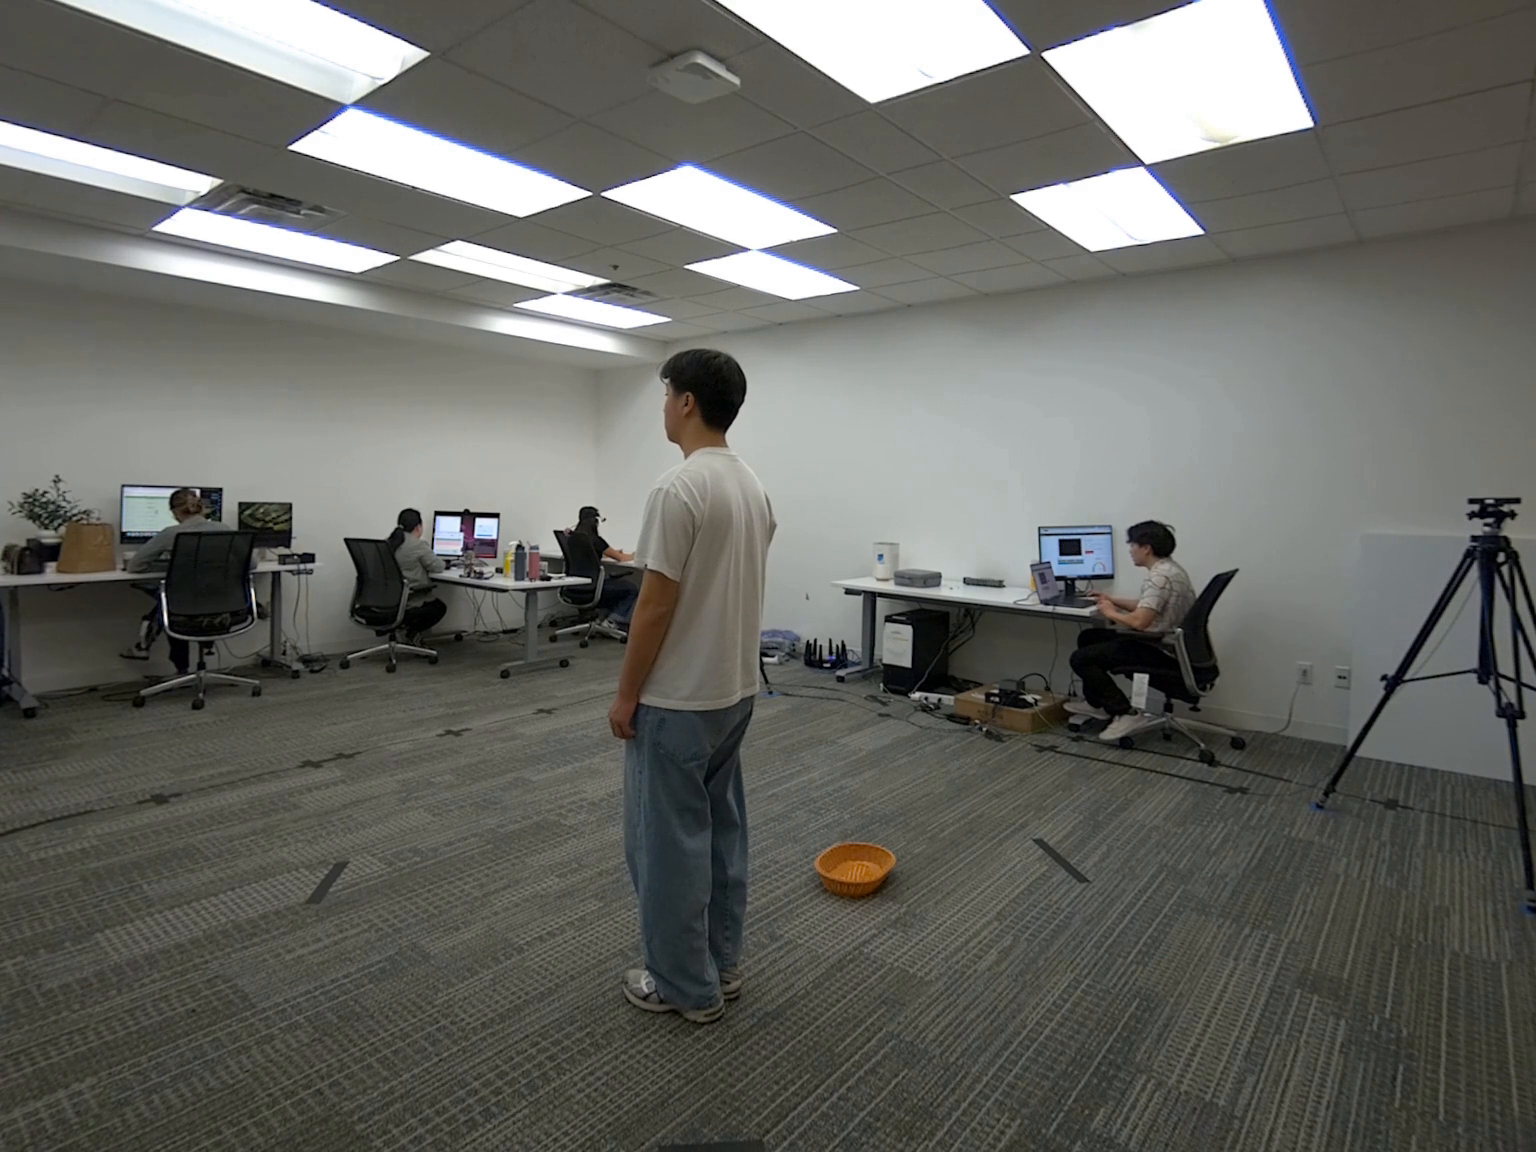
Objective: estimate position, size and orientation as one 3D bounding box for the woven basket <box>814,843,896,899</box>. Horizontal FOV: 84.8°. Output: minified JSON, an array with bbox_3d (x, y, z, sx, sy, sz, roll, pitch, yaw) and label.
[{"bbox_3d":[0.301,1.045,3.046,0.260,0.073,0.341,4,7,32],"label":"woven basket"}]
